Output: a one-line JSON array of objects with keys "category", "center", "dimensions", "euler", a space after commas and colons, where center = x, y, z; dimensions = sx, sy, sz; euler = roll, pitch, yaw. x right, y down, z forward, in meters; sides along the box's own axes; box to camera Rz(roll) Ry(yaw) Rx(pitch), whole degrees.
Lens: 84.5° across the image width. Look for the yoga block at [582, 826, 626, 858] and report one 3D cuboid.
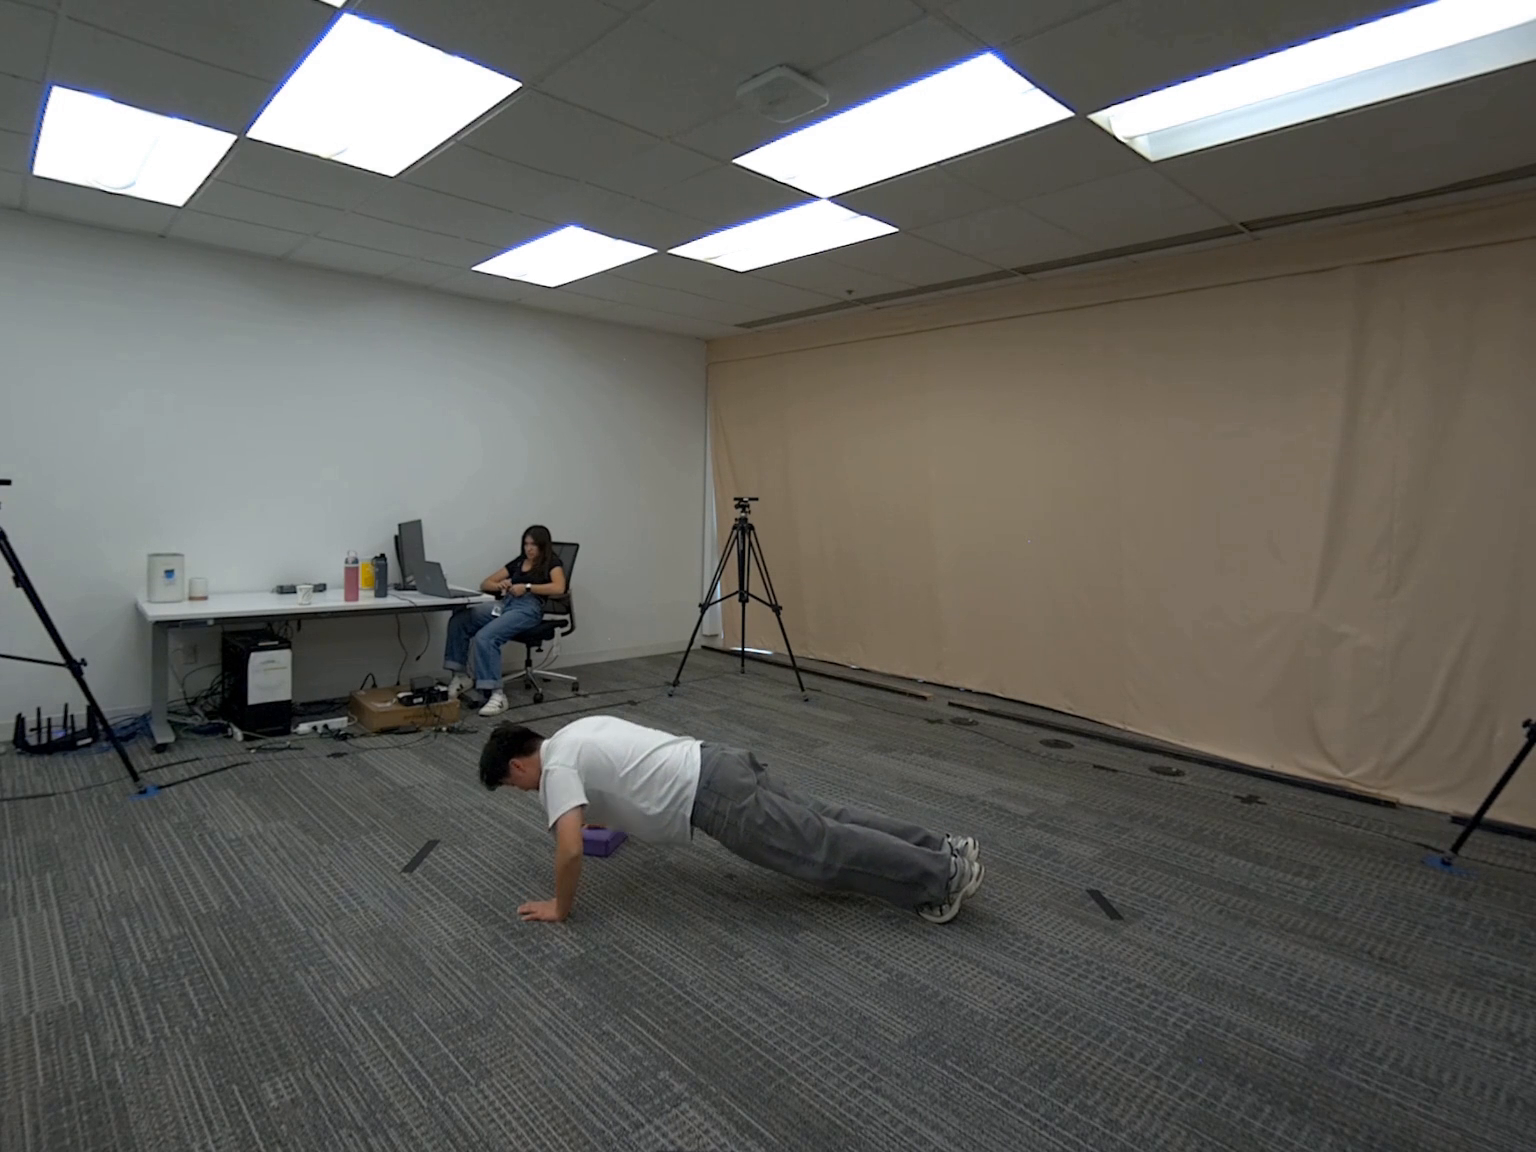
[{"category": "yoga block", "center": [-0.676, 1.041, 3.356], "dimensions": [0.151, 0.076, 0.227], "euler": [4, 5, 13]}]
